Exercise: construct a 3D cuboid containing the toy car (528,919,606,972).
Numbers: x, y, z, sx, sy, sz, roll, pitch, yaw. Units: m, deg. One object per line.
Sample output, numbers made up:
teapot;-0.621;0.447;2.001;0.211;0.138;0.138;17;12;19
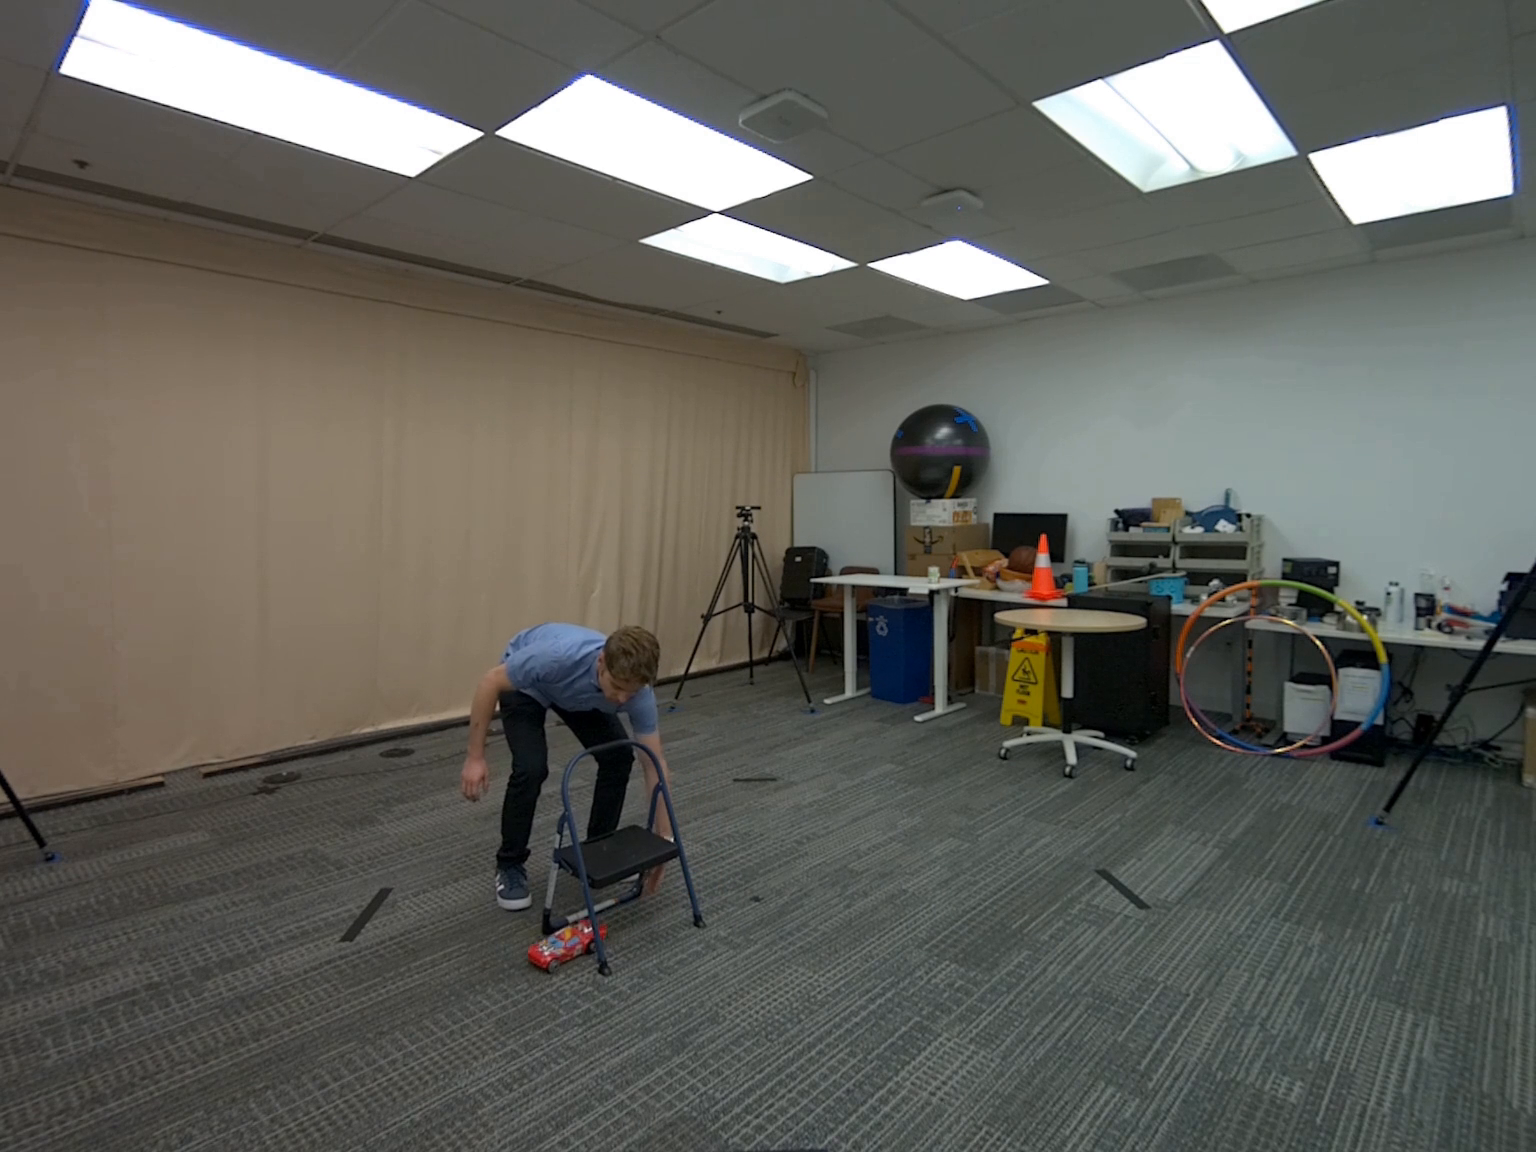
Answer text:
toy car;-0.616;1.152;2.621;0.134;0.082;0.248;2;16;44
